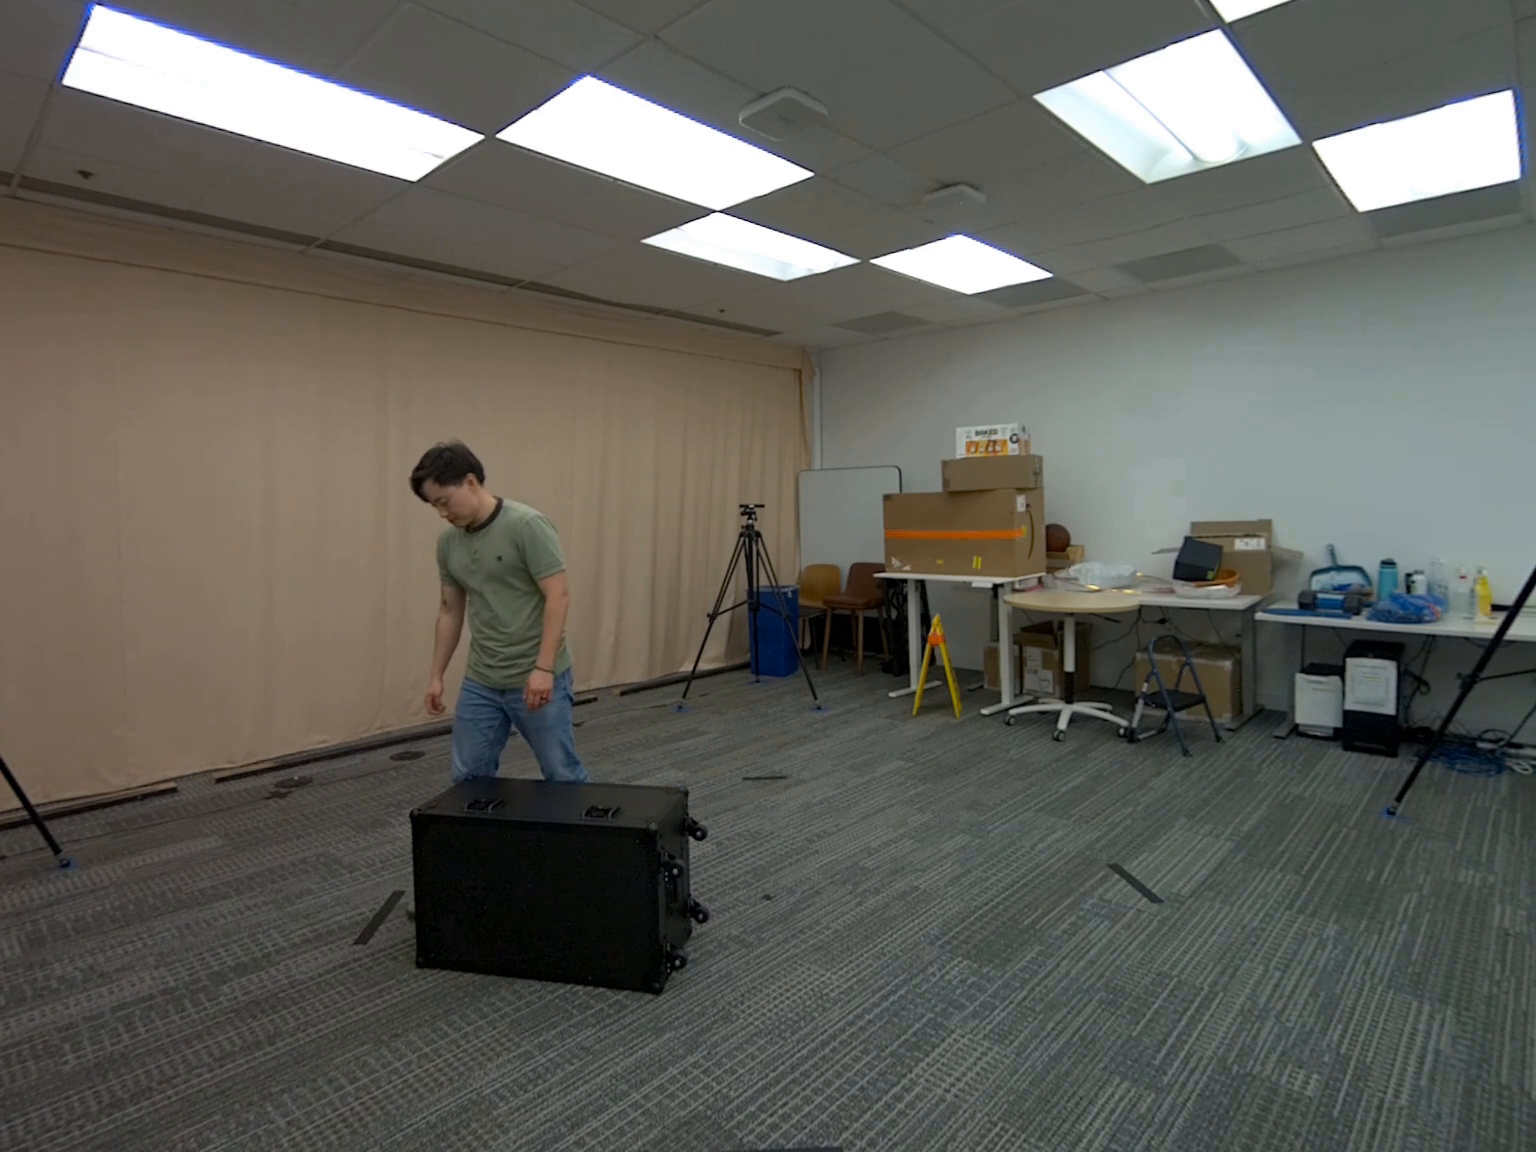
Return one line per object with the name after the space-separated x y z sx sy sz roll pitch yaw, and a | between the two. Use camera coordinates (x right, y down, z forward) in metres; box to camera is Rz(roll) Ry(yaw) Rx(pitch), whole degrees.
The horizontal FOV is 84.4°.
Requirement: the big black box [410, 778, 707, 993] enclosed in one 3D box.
-0.687 0.933 2.661 0.873 0.520 0.392 0 3 12 | big black box
